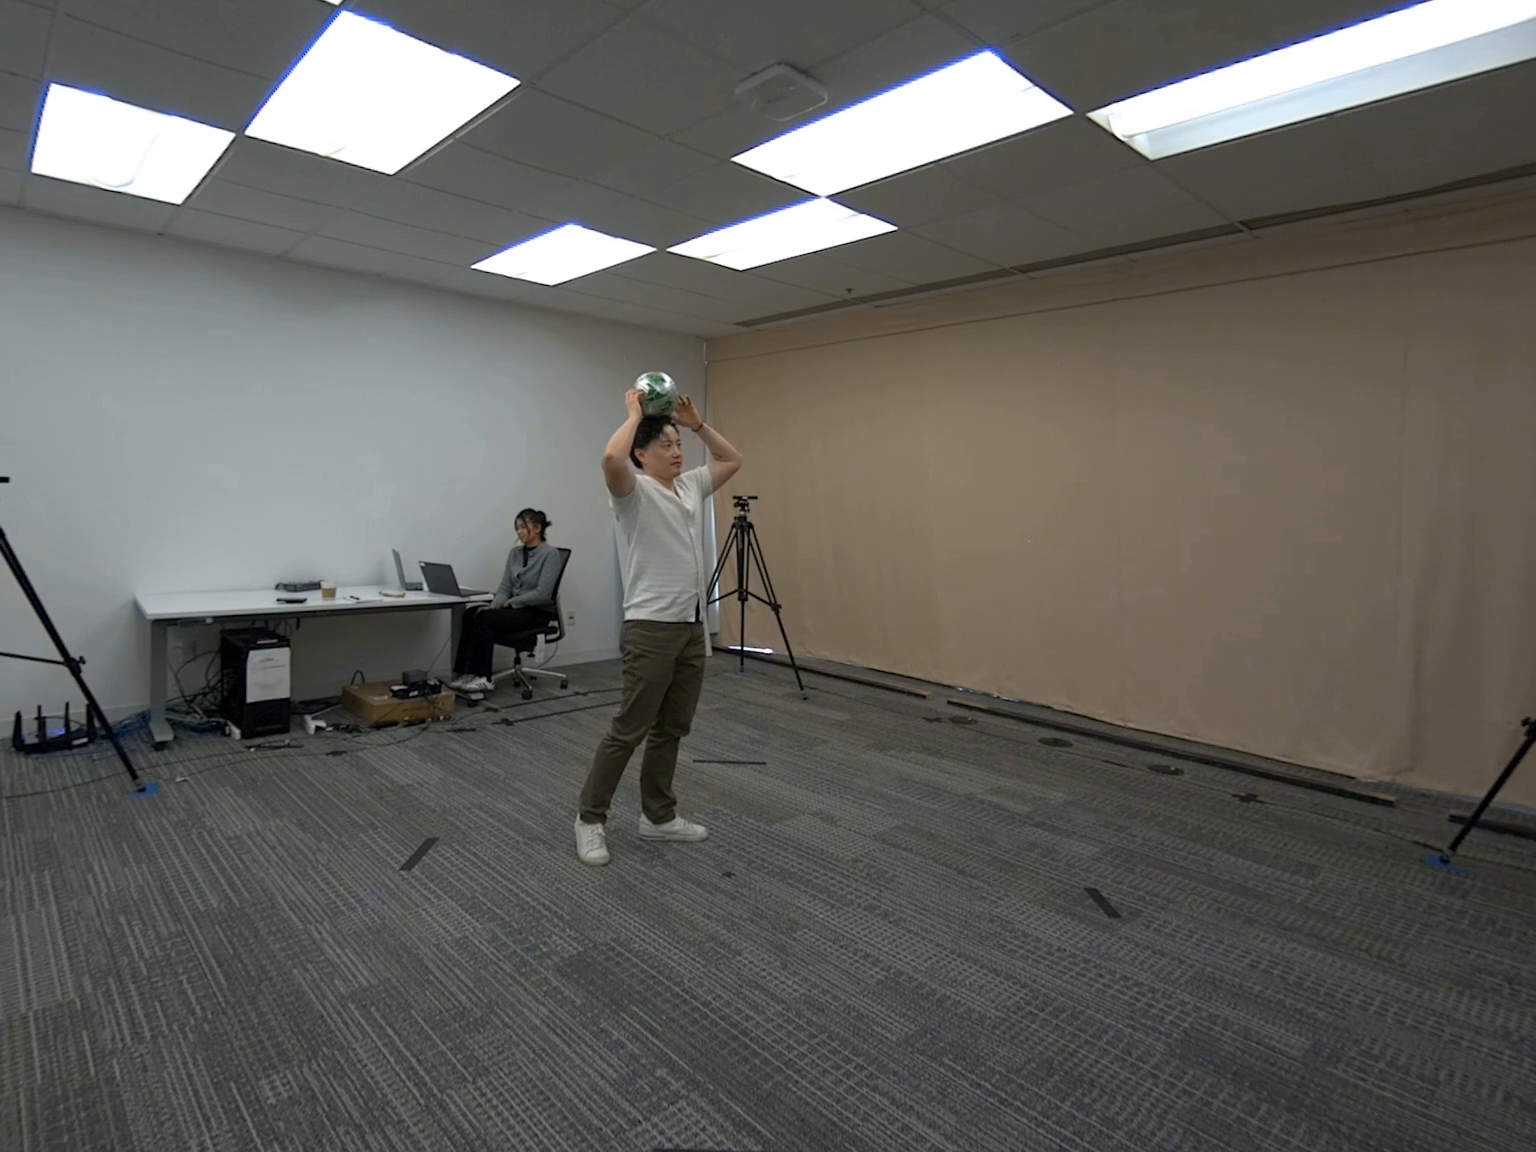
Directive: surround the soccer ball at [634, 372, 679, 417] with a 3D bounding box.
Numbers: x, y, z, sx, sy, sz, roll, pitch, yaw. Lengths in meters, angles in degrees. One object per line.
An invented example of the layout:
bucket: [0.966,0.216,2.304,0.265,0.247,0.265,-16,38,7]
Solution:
soccer ball: [-0.455,-0.699,3.283,0.187,0.187,0.188,1,4,-1]
